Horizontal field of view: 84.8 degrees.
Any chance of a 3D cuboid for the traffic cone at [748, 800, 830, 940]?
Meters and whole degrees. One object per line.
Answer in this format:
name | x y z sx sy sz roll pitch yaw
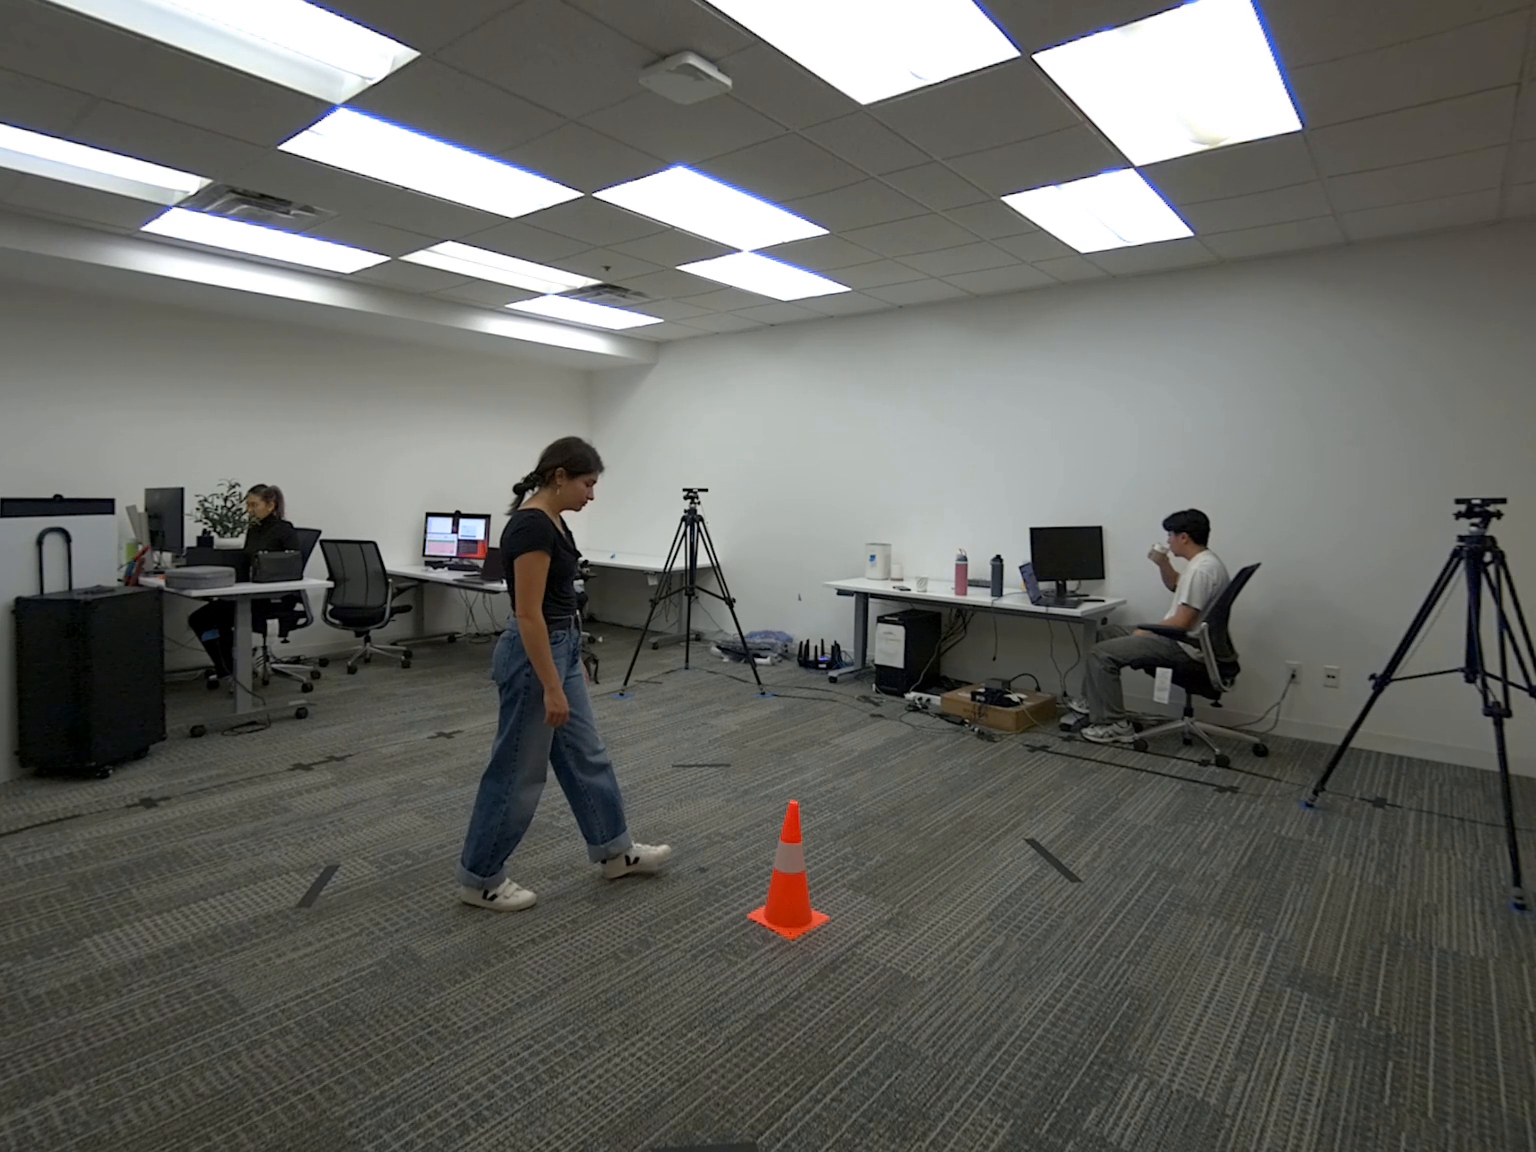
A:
traffic cone | 0.082 0.923 2.765 0.197 0.383 0.212 1 4 -43
